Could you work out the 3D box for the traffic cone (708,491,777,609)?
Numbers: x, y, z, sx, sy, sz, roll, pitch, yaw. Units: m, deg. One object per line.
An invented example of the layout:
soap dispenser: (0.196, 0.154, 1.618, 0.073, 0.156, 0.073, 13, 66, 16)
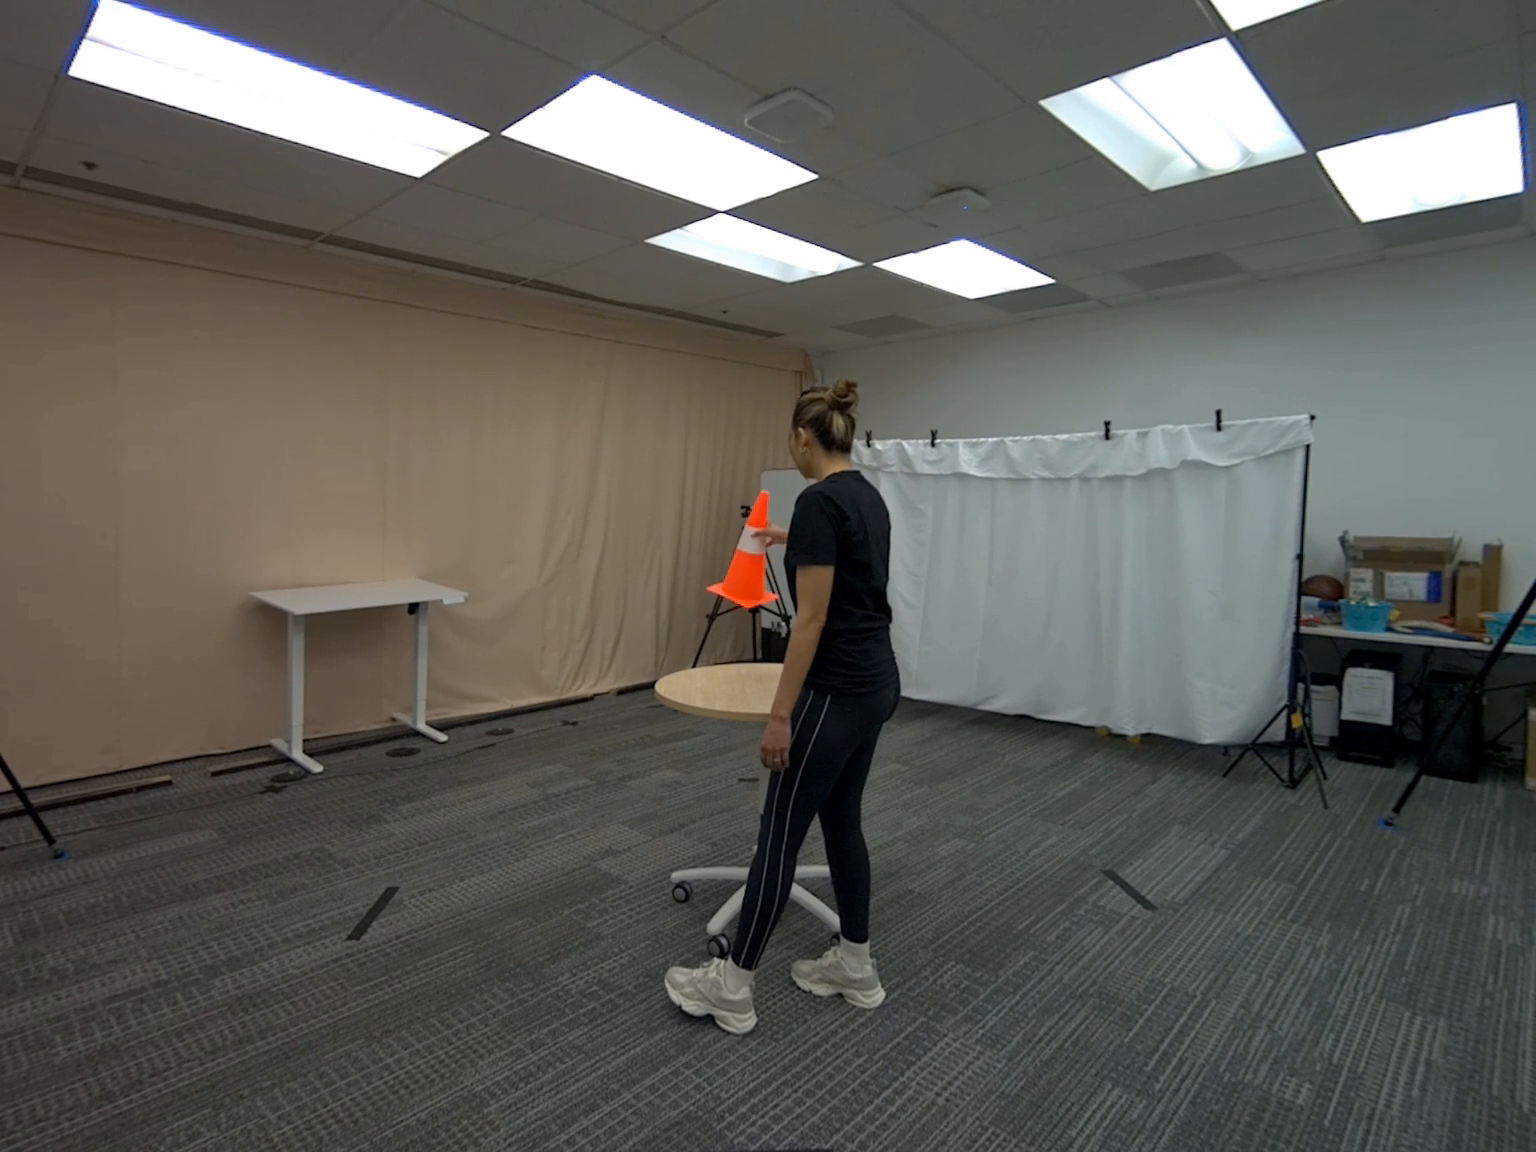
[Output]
traffic cone: (-0.054, -0.111, 2.971, 0.208, 0.381, 0.201, 16, 18, 20)
